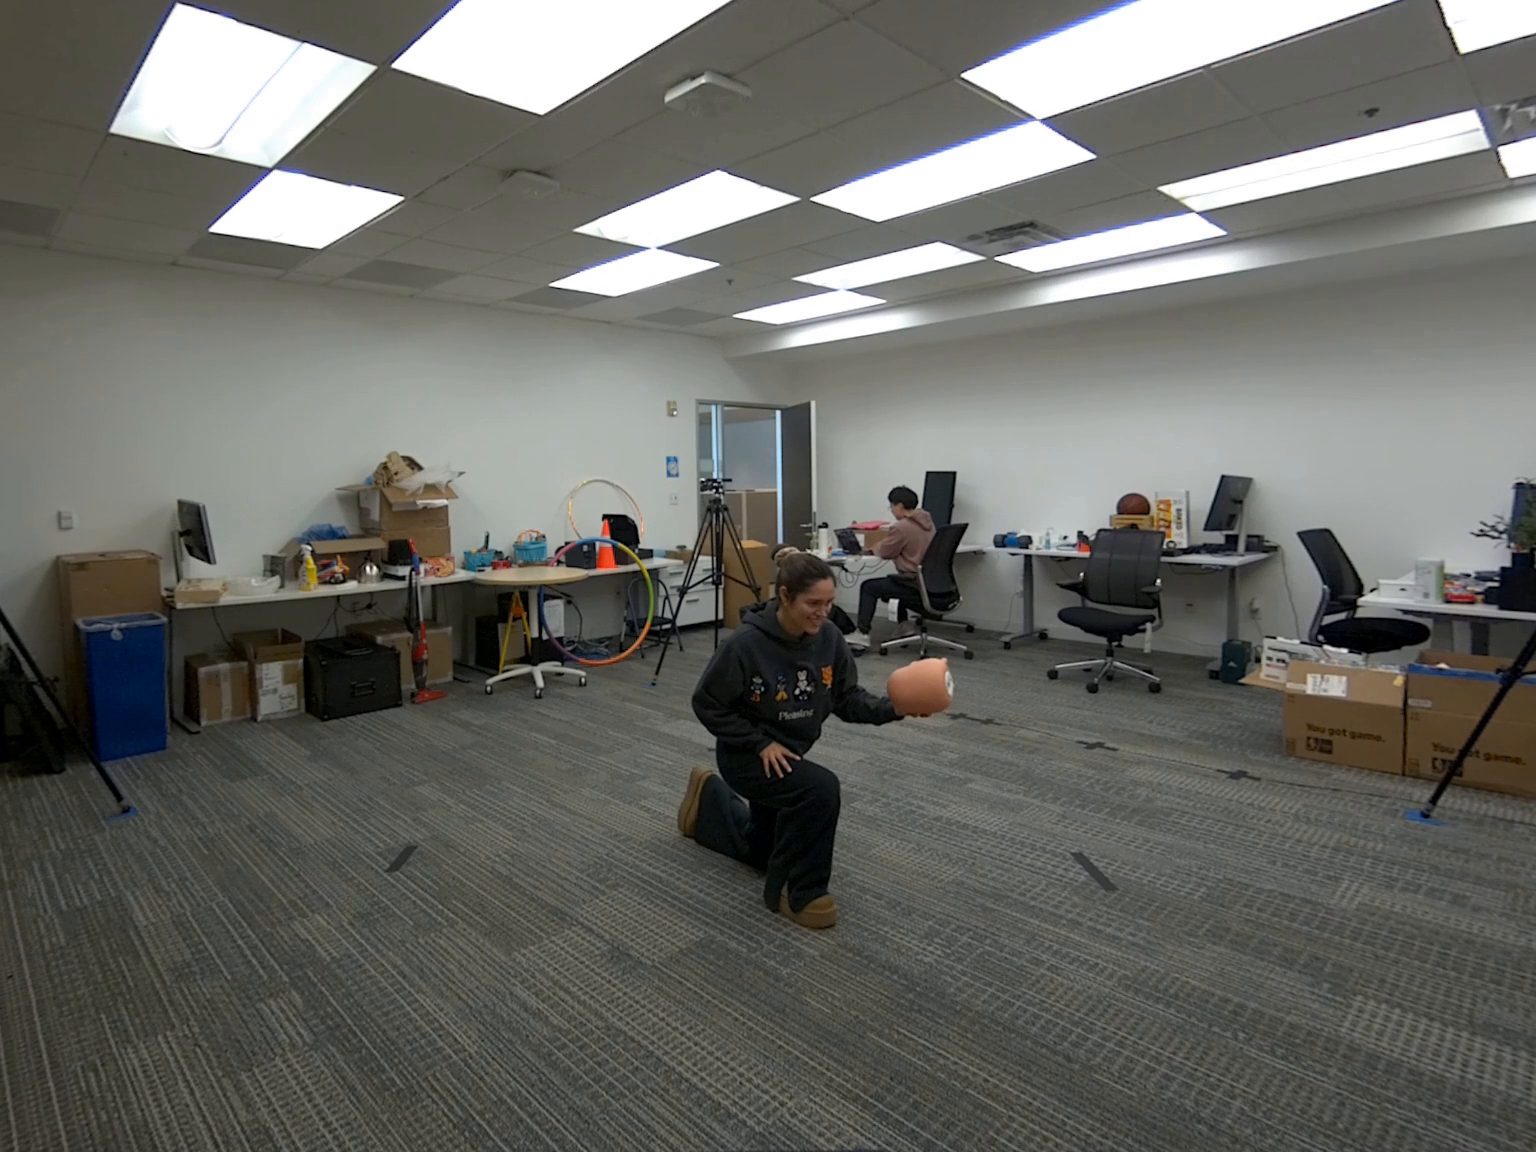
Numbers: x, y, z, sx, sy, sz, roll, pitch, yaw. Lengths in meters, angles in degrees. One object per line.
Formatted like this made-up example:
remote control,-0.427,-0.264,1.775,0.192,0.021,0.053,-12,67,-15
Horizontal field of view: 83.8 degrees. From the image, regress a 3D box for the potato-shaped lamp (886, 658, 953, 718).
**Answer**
potato-shaped lamp,0.473,0.349,2.693,0.202,0.160,0.173,-7,30,28
